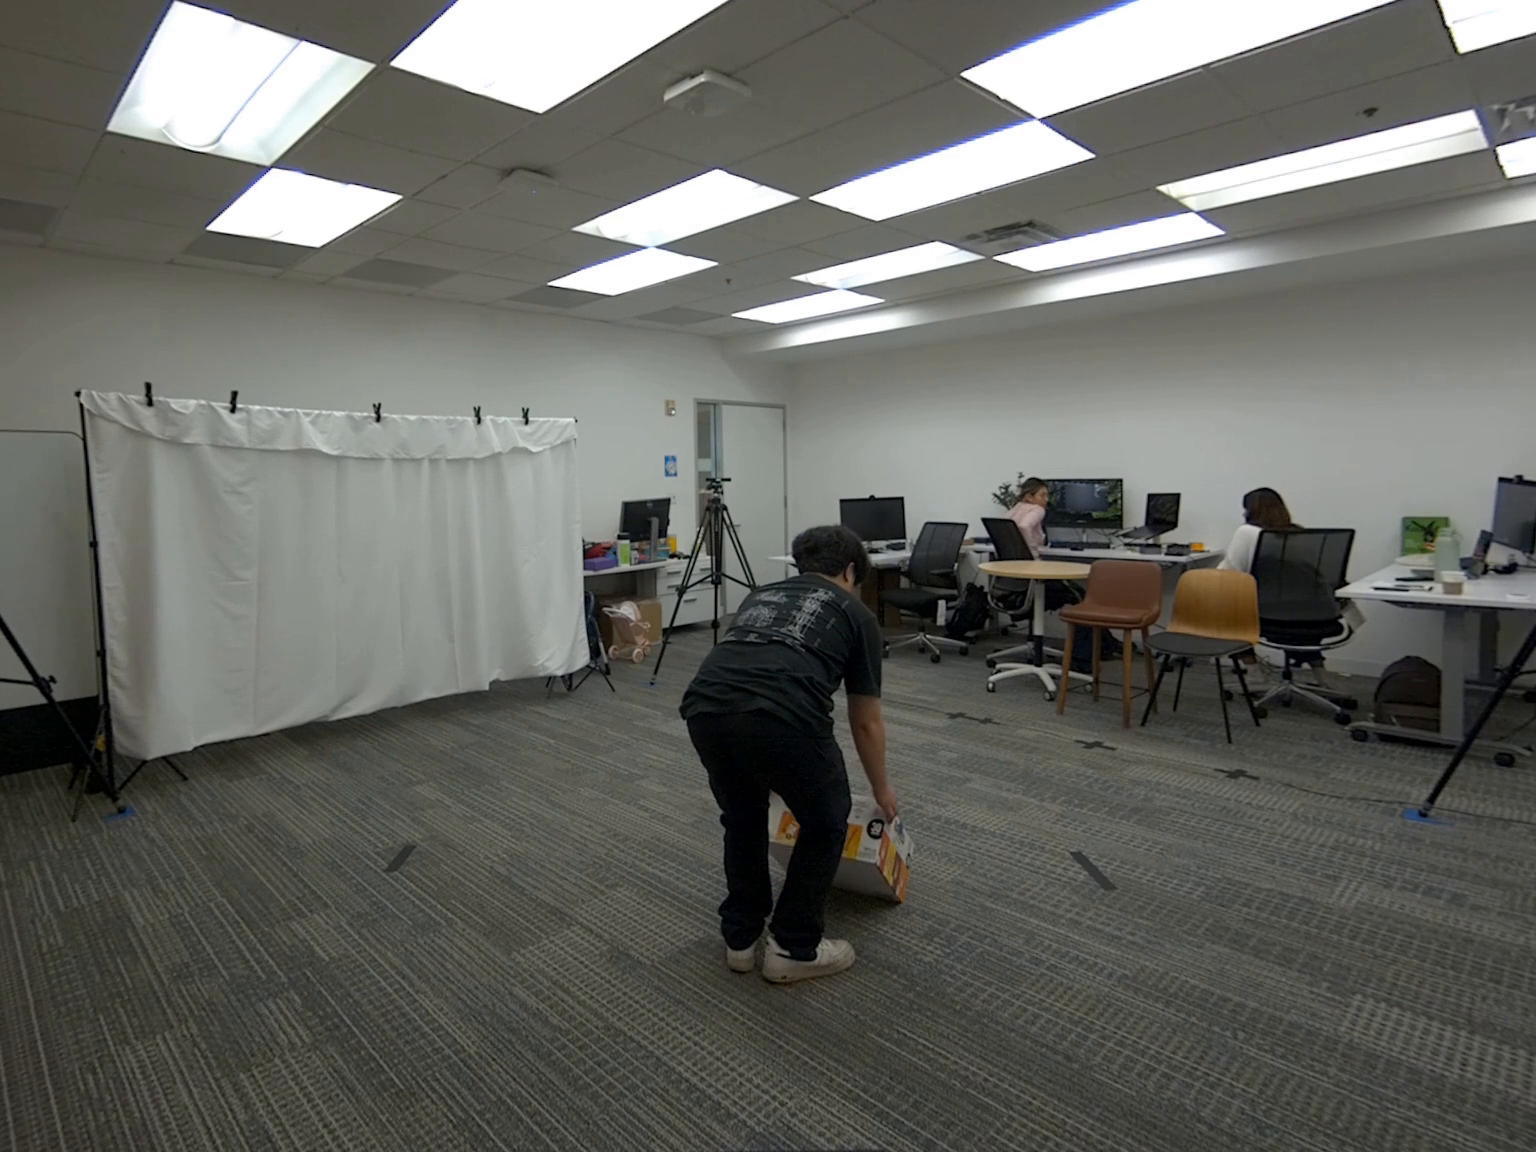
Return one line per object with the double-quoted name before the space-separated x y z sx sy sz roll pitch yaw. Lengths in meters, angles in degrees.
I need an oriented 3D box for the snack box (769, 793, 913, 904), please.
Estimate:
"snack box" 0.233 0.882 2.835 0.415 0.208 0.327 2 -38 28
